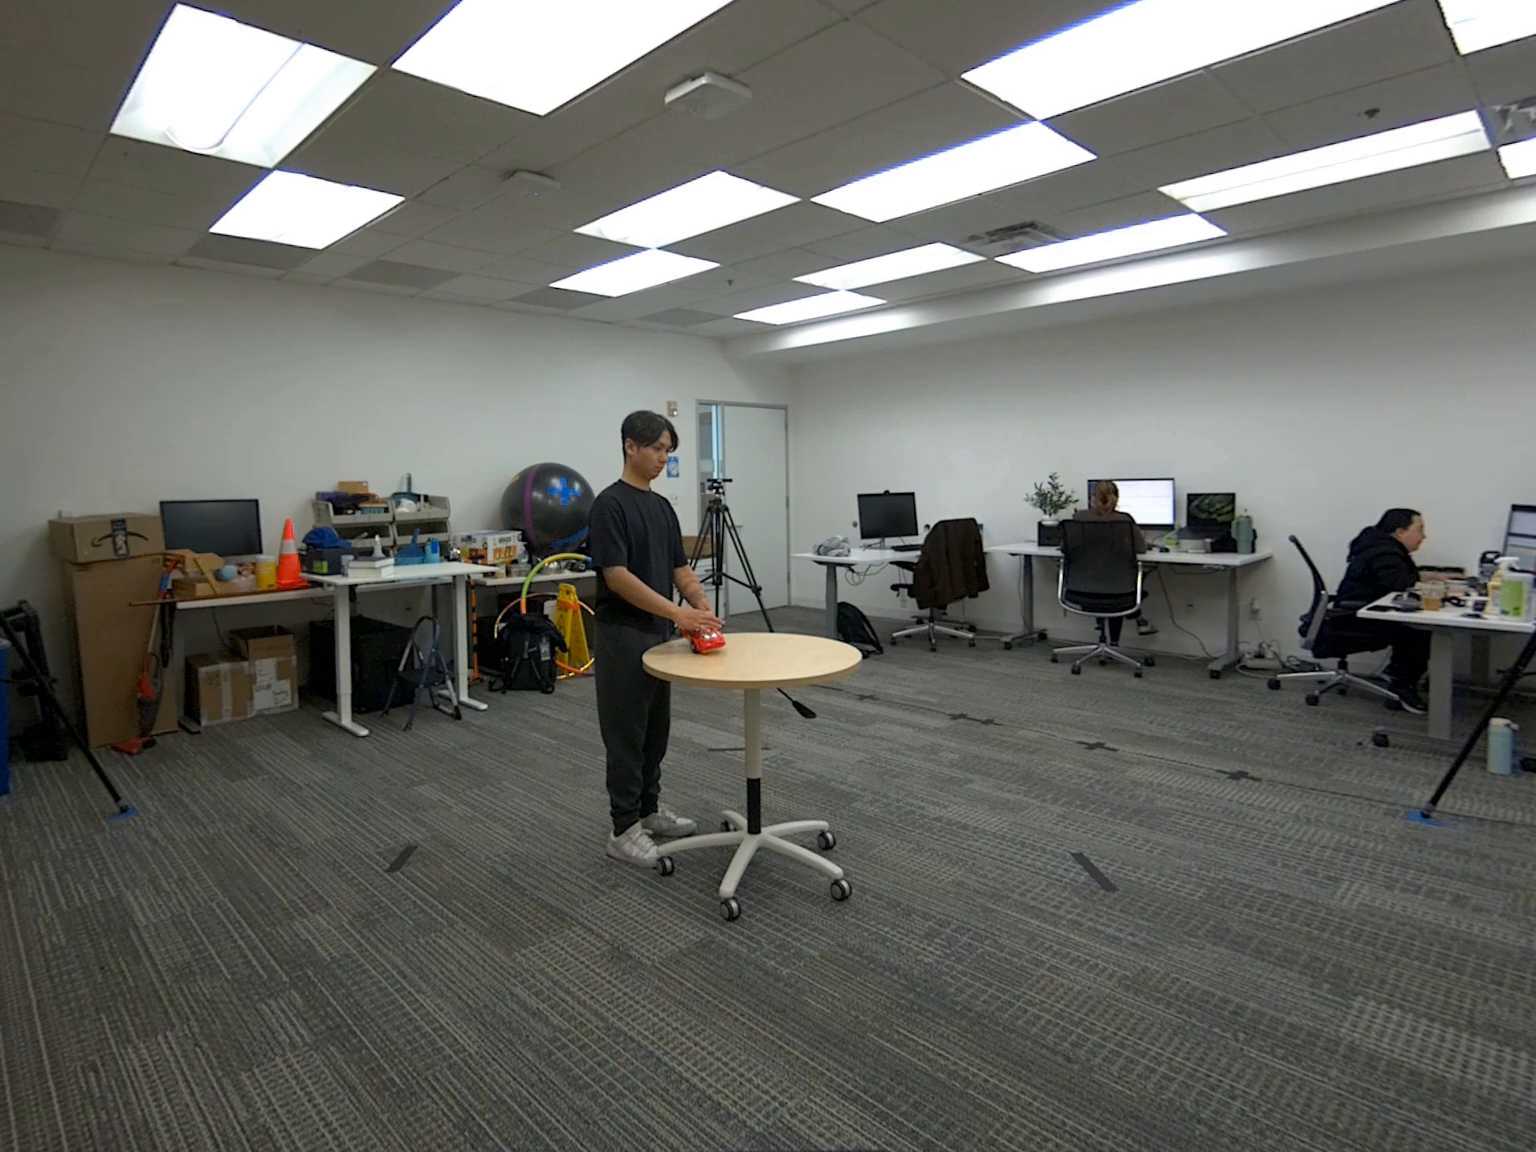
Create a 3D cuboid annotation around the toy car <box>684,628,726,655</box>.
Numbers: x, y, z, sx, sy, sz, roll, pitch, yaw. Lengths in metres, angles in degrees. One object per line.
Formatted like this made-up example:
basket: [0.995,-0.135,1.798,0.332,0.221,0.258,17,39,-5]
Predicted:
toy car: [-0.238,0.219,3.078,0.128,0.082,0.261,-11,11,-23]
